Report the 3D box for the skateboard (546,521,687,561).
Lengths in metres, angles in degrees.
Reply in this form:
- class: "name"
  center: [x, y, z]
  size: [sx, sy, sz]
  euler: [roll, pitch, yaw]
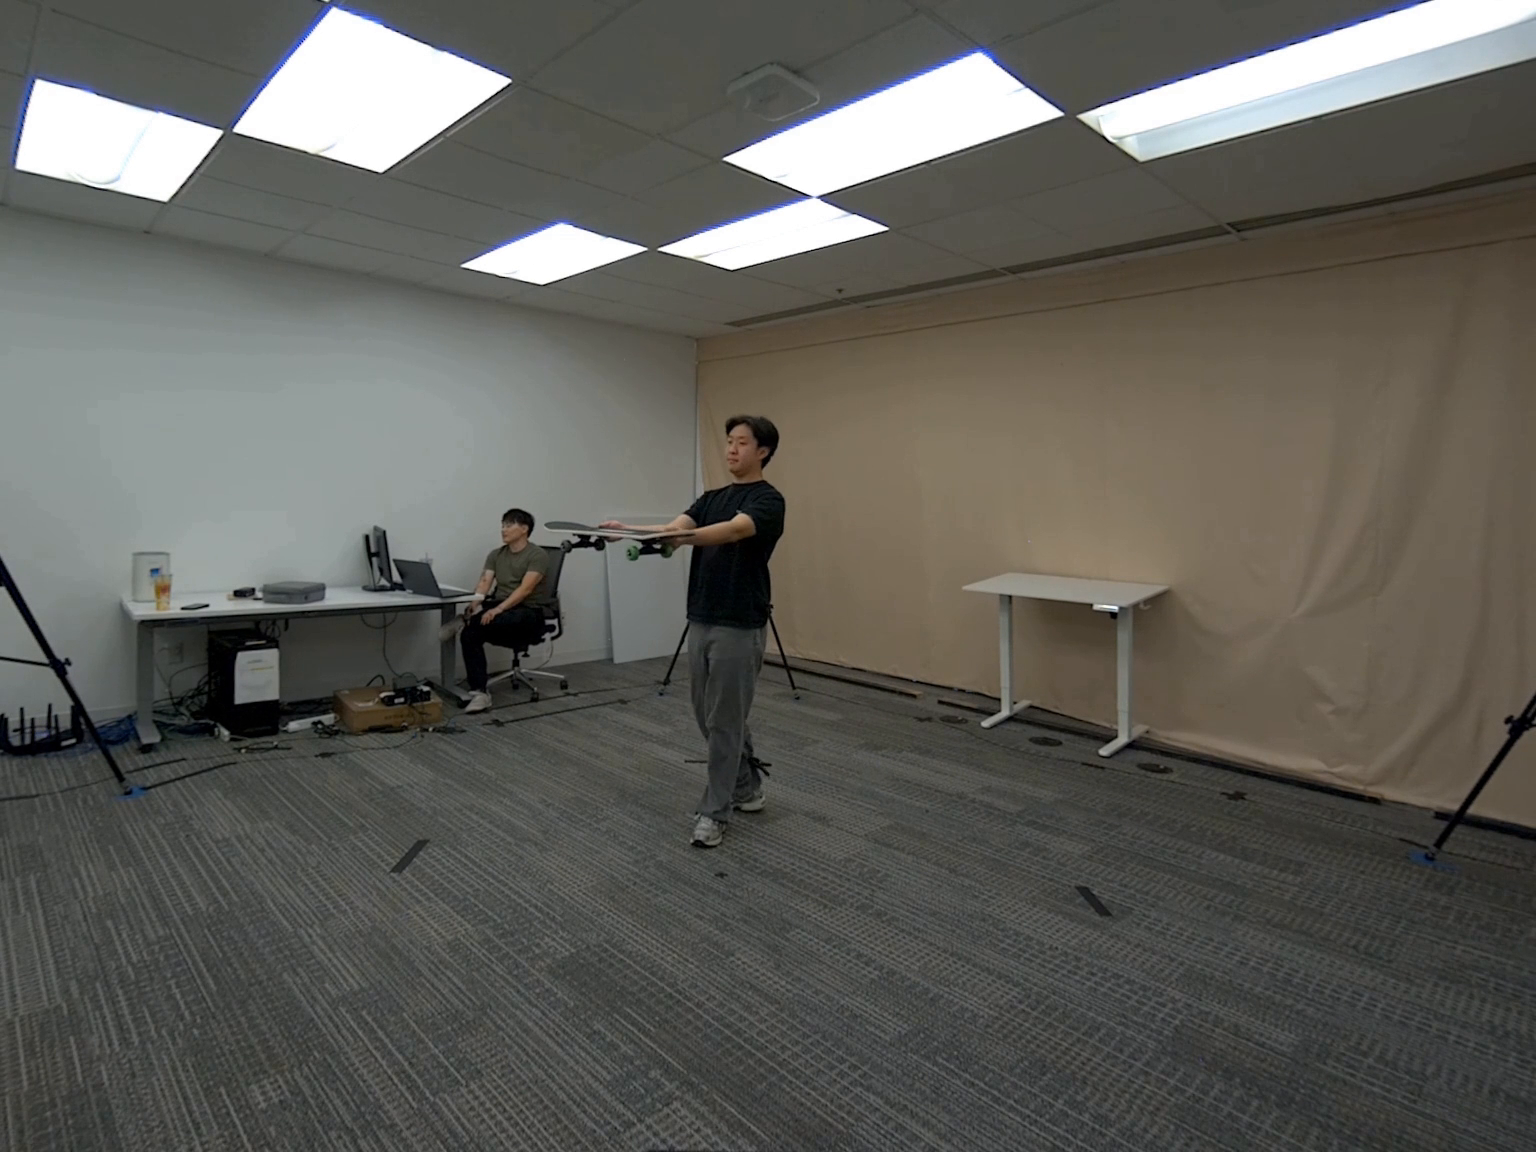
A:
- class: "skateboard"
  center: [-0.557, -0.131, 3.079]
  size: [0.806, 0.110, 0.189]
  euler: [6, 7, 44]
